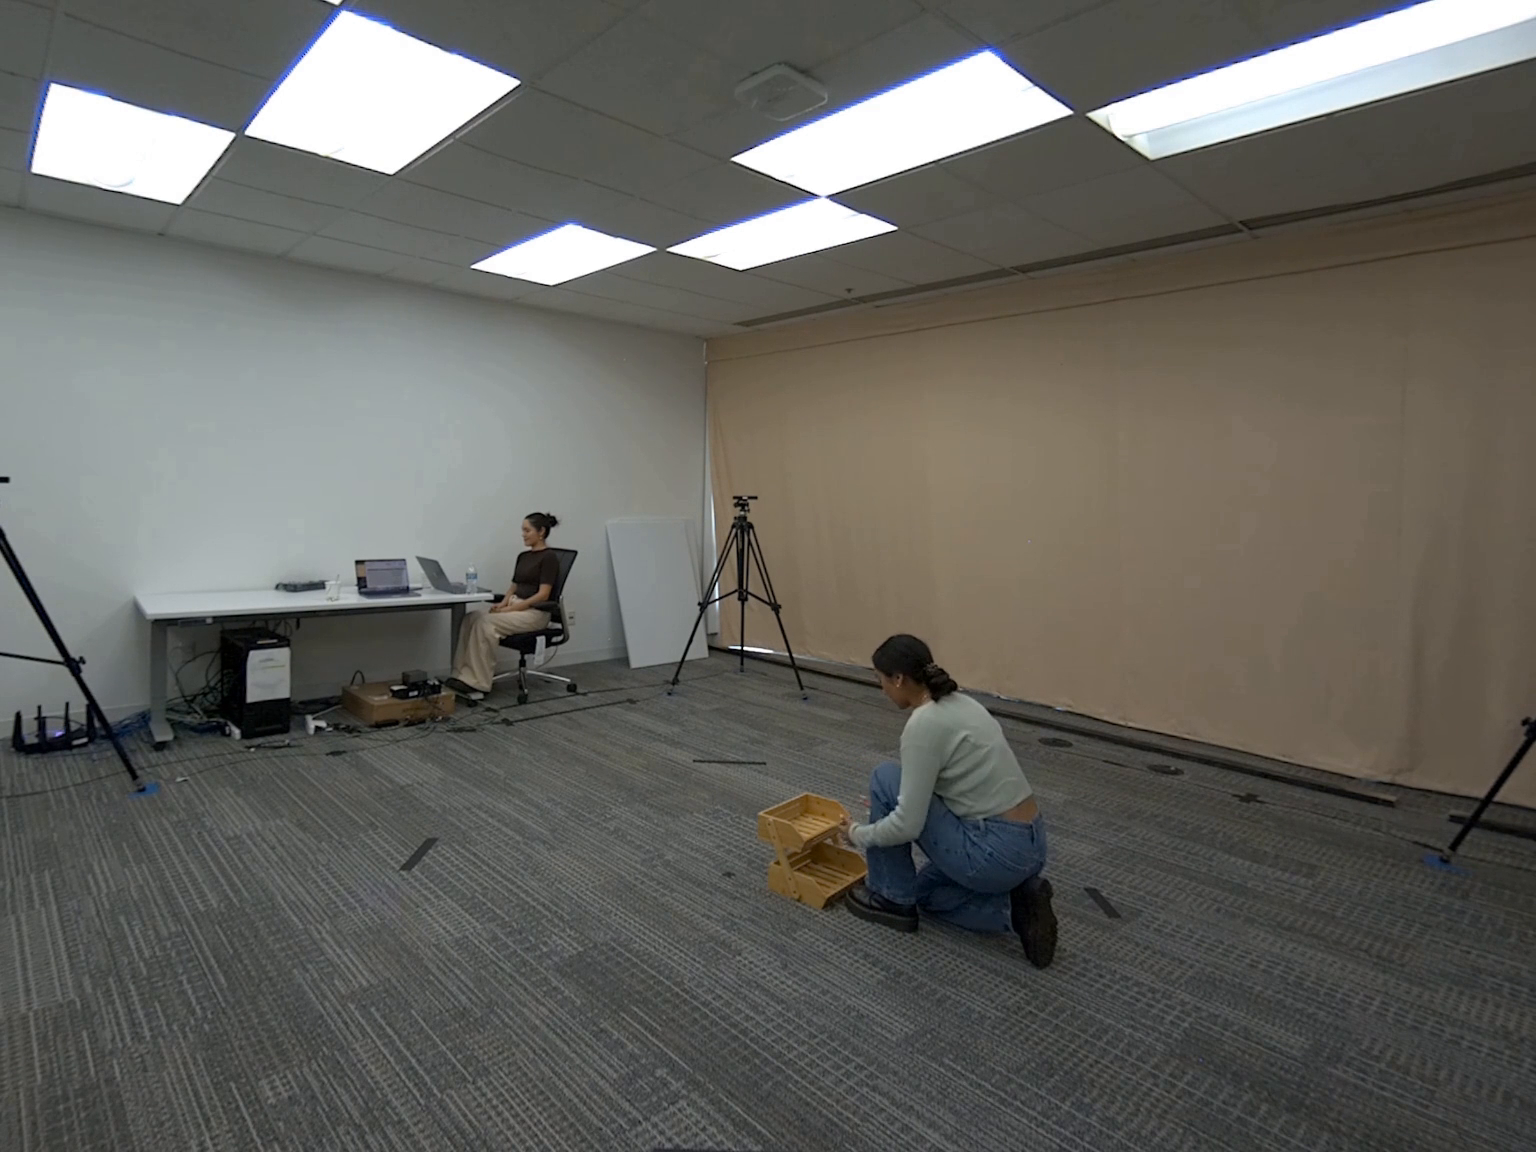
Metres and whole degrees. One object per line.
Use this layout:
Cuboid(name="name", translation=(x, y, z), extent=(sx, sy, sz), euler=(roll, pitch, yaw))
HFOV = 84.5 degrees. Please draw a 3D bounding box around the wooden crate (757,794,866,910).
Cuboid(name="wooden crate", translation=(0.167, 0.981, 3.043), extent=(0.309, 0.272, 0.317), euler=(4, 5, 39))
